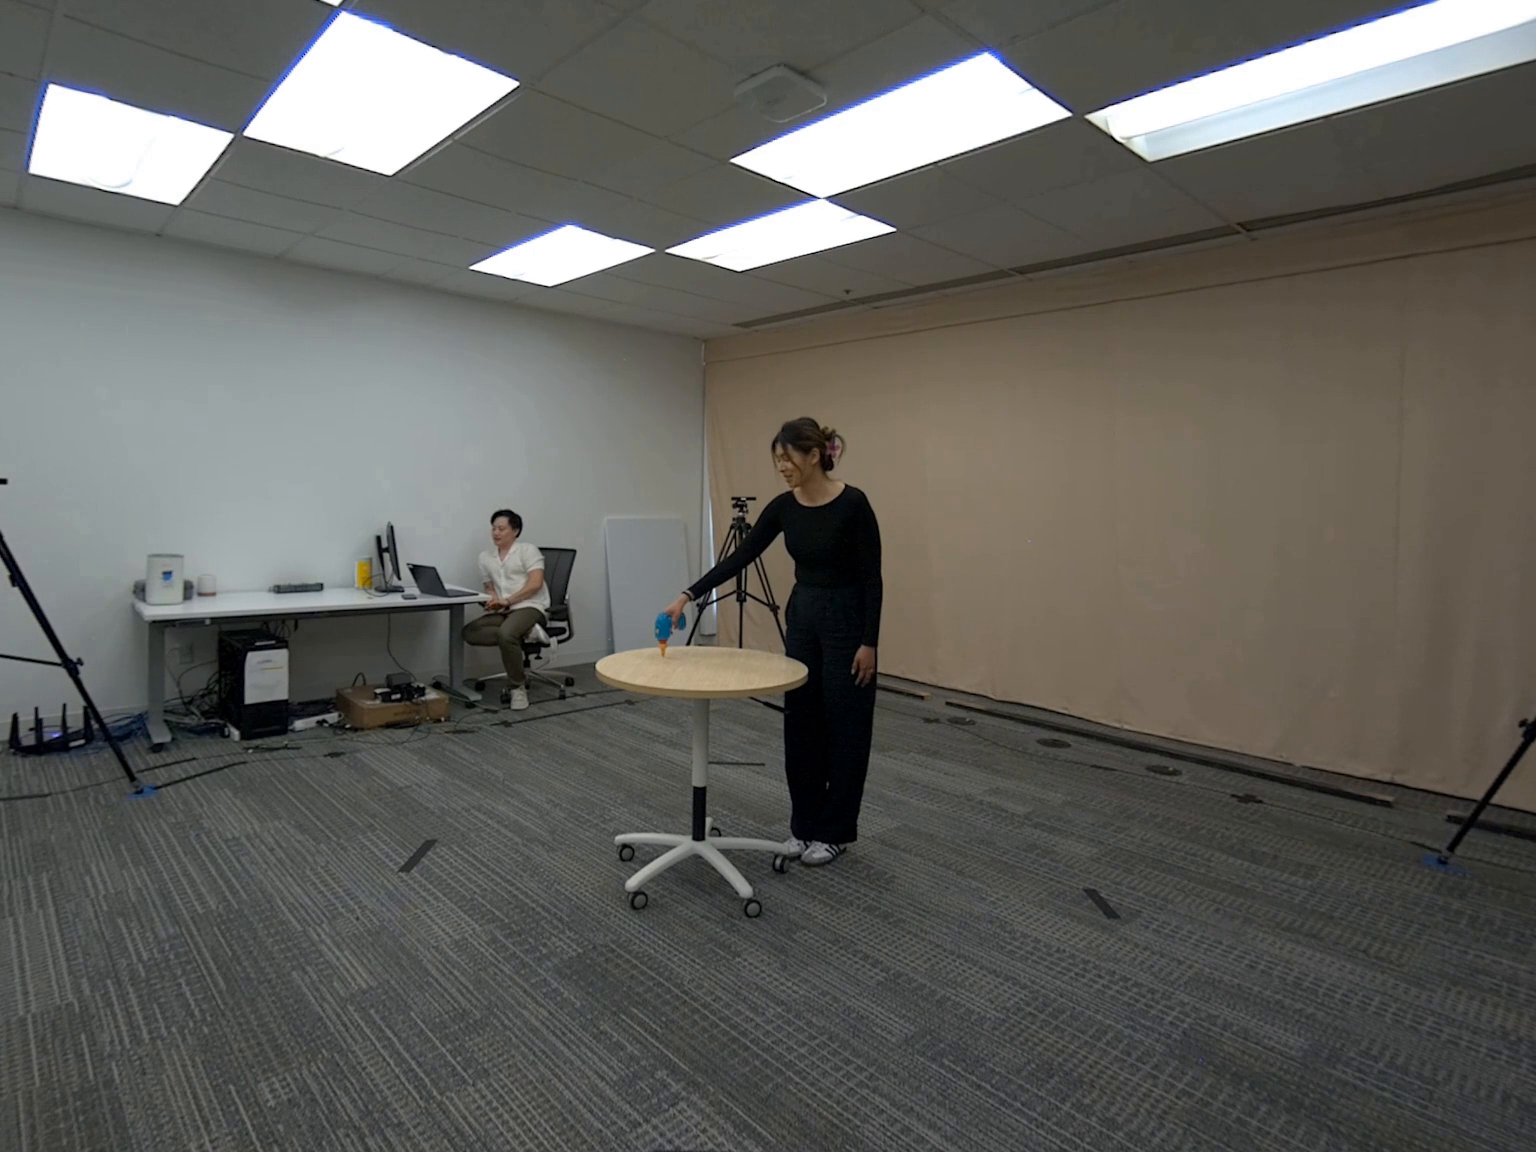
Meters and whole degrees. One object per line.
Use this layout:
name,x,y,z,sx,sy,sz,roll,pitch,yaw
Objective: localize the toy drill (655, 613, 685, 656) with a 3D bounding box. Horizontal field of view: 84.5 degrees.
toy drill,-0.382,0.219,3.198,0.062,0.169,0.144,-5,5,29
